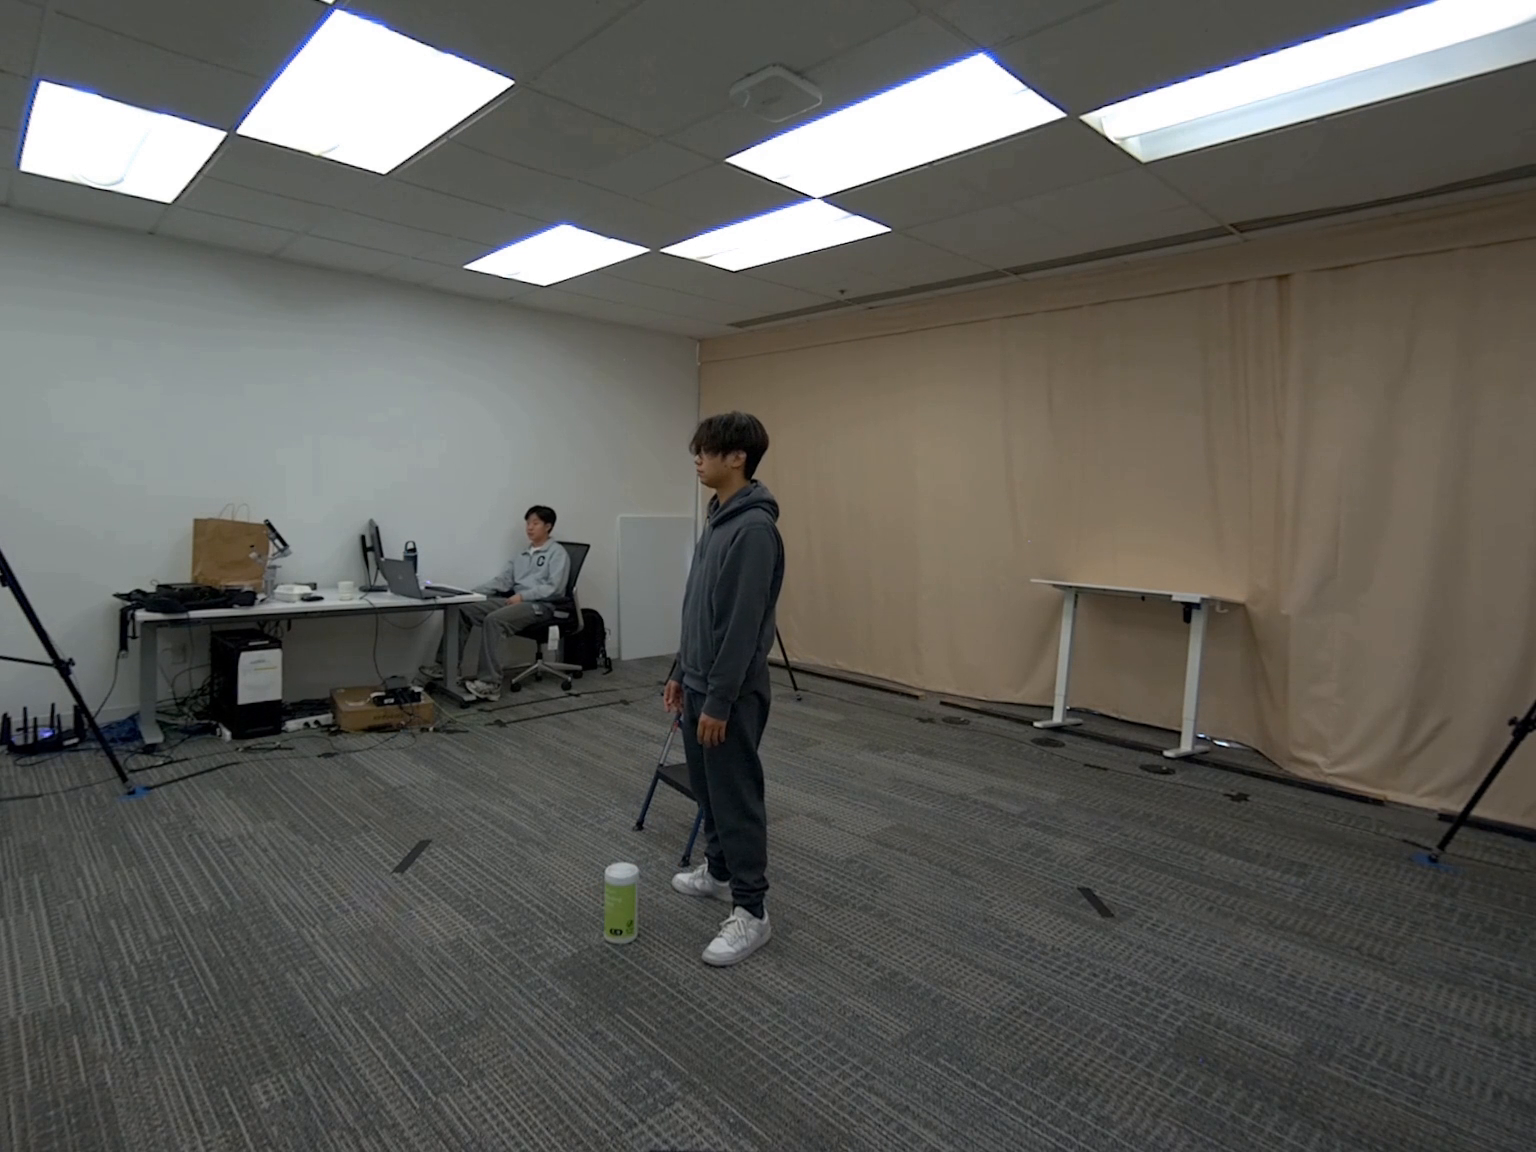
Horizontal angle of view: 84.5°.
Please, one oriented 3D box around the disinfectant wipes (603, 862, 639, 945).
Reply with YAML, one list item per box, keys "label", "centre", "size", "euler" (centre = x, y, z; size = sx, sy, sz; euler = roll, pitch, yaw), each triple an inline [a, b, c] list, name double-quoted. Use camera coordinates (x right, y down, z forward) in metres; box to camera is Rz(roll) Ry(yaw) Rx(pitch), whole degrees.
- label: "disinfectant wipes"
  centre: [-0.467, 1.029, 2.658]
  size: [0.118, 0.217, 0.118]
  euler: [0, 5, -1]
